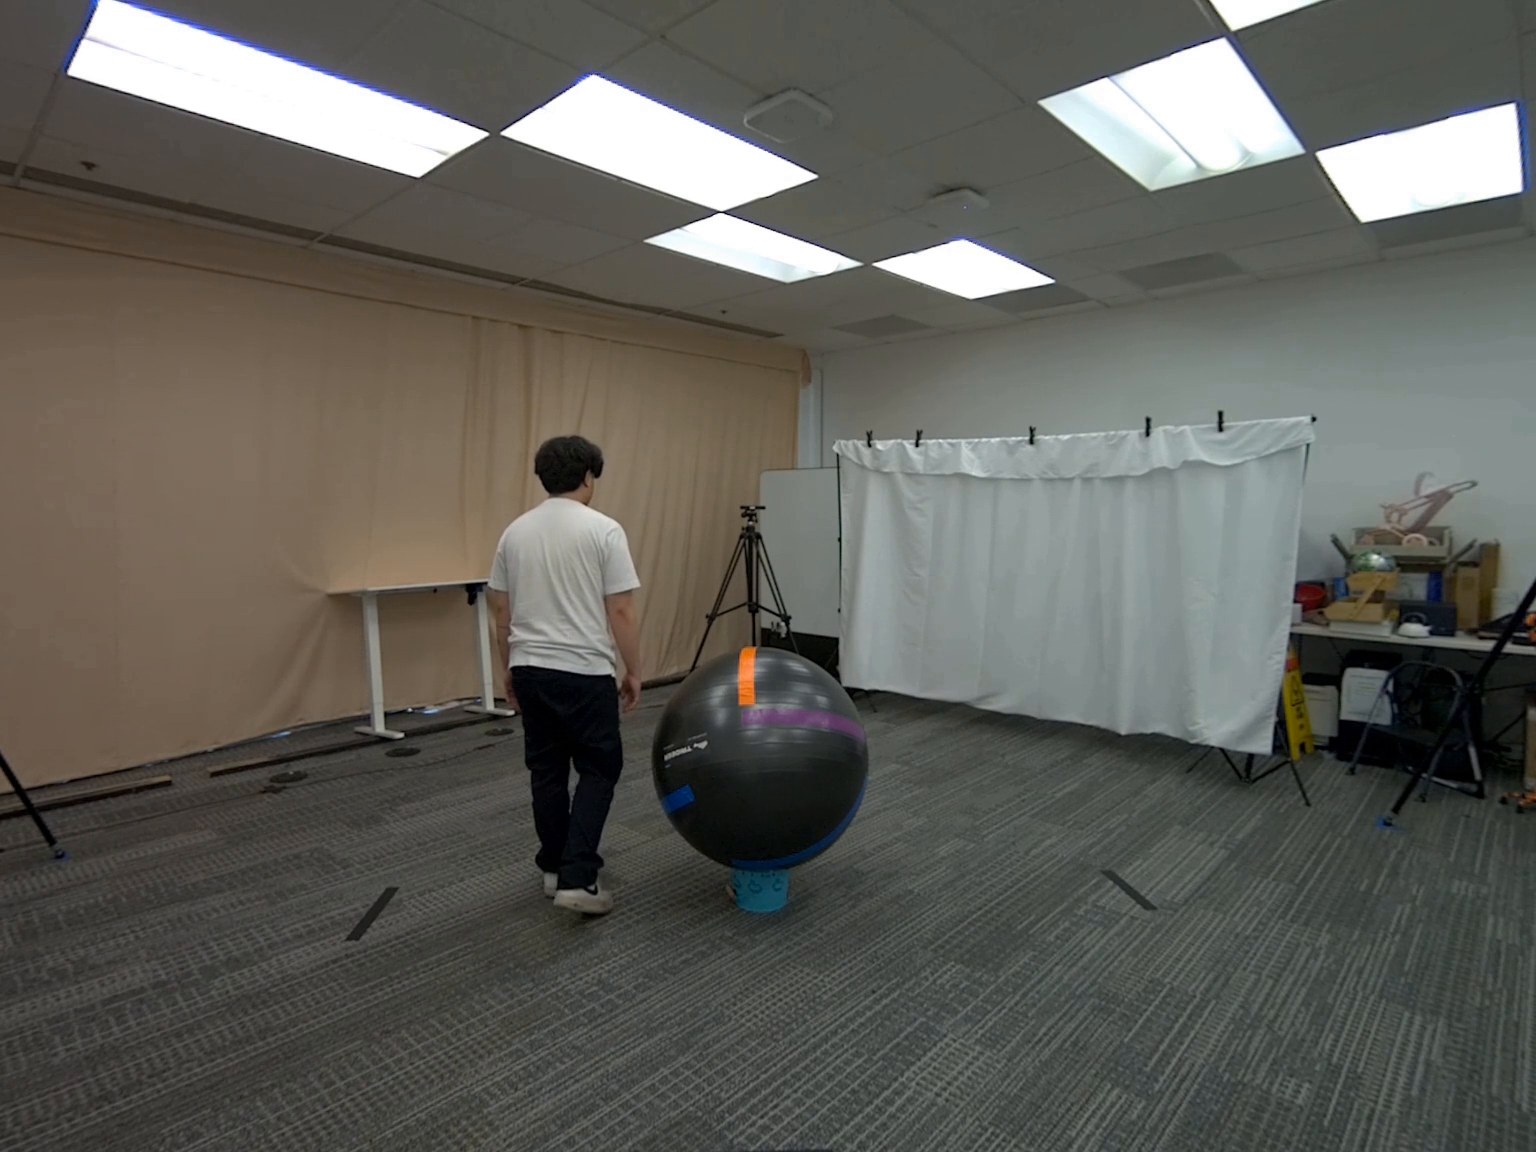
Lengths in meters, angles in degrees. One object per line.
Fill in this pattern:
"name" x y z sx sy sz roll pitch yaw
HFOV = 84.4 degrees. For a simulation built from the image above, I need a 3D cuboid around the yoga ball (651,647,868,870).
"yoga ball" -0.031 0.634 2.953 0.757 0.756 0.761 0 4 -2
